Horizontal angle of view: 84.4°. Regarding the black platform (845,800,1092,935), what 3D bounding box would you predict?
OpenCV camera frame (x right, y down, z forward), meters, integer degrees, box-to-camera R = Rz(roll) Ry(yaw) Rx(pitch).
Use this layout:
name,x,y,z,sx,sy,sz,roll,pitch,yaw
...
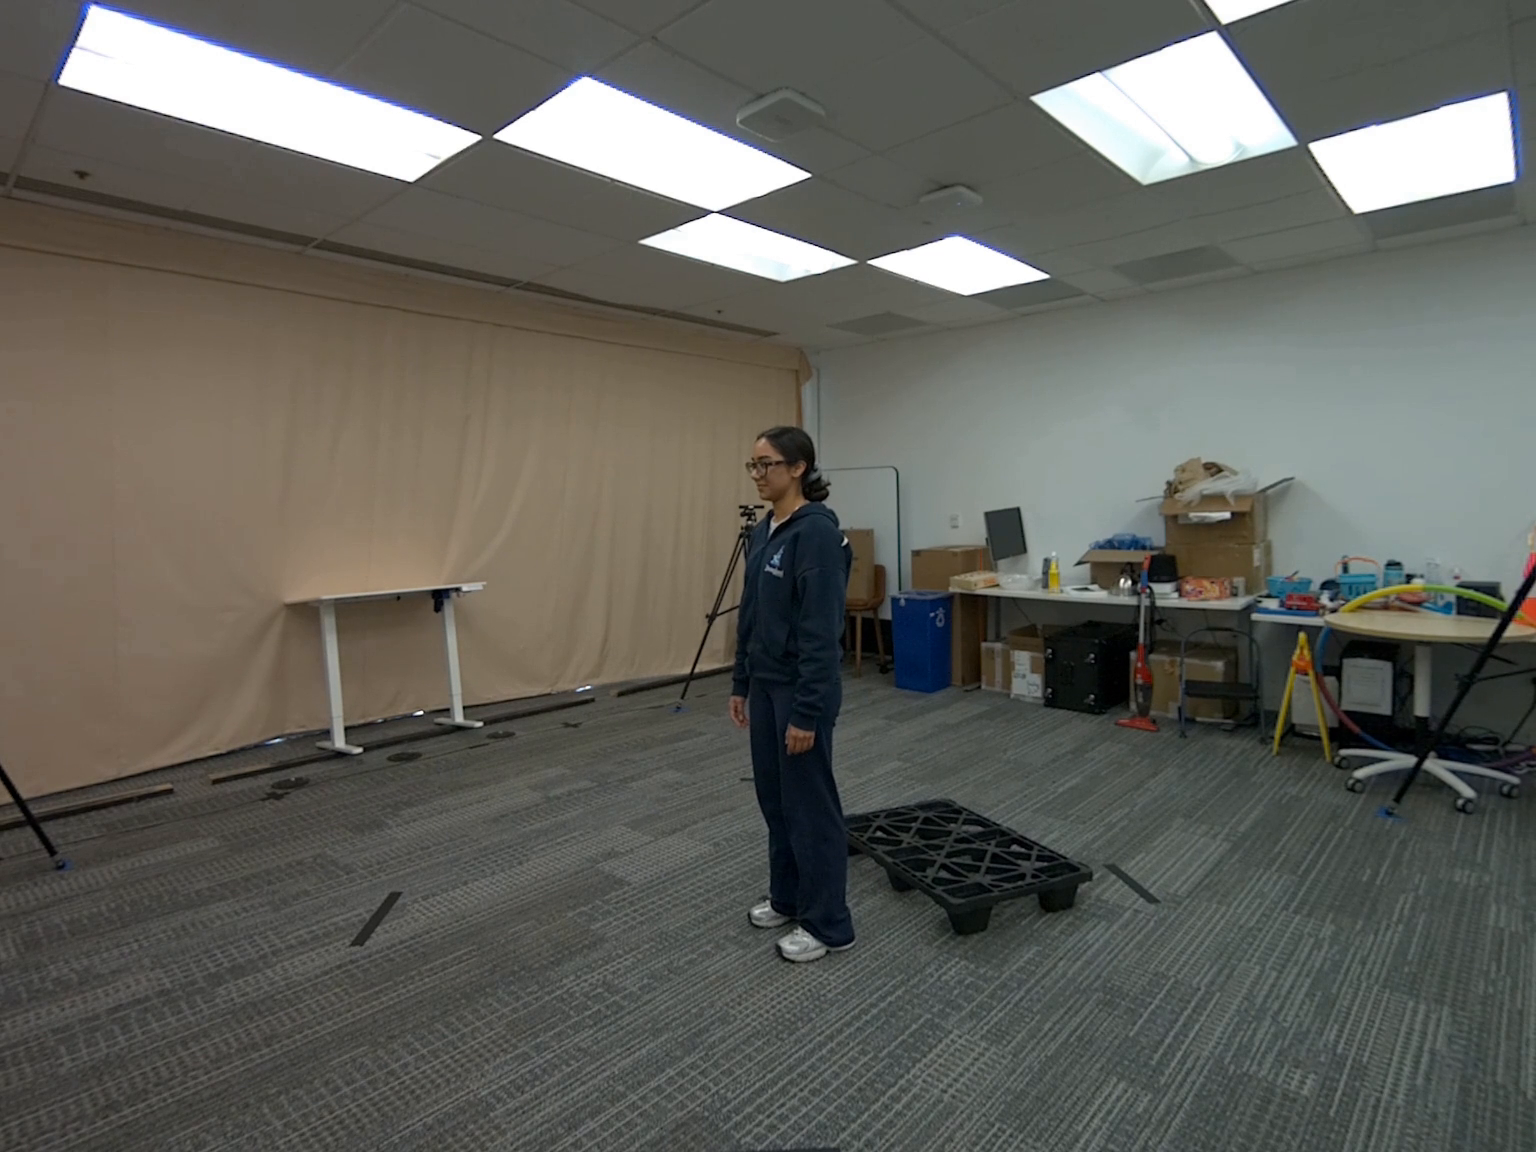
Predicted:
name,x,y,z,sx,sy,sz,roll,pitch,yaw
black platform,0.673,1.053,3.108,0.591,0.143,0.826,-3,5,-25
